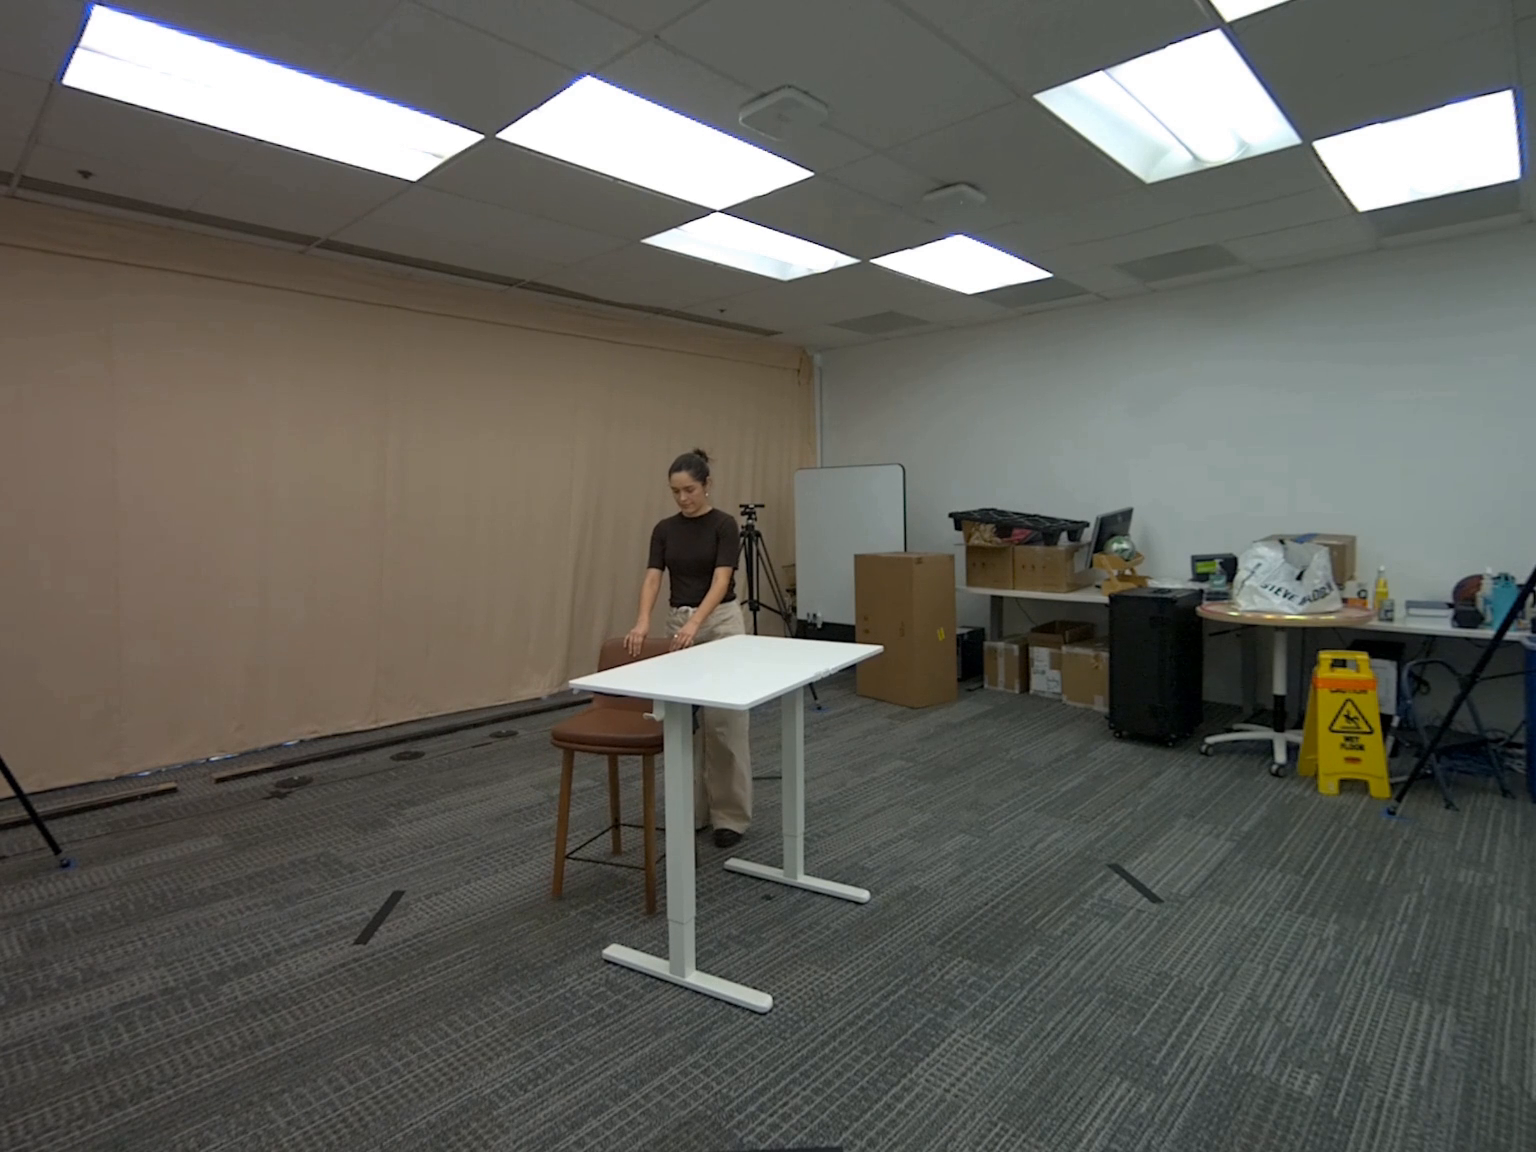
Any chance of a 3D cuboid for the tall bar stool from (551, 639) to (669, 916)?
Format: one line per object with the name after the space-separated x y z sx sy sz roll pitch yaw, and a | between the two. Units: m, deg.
-0.520 0.705 3.124 0.467 0.890 0.457 0 0 22 | tall bar stool
